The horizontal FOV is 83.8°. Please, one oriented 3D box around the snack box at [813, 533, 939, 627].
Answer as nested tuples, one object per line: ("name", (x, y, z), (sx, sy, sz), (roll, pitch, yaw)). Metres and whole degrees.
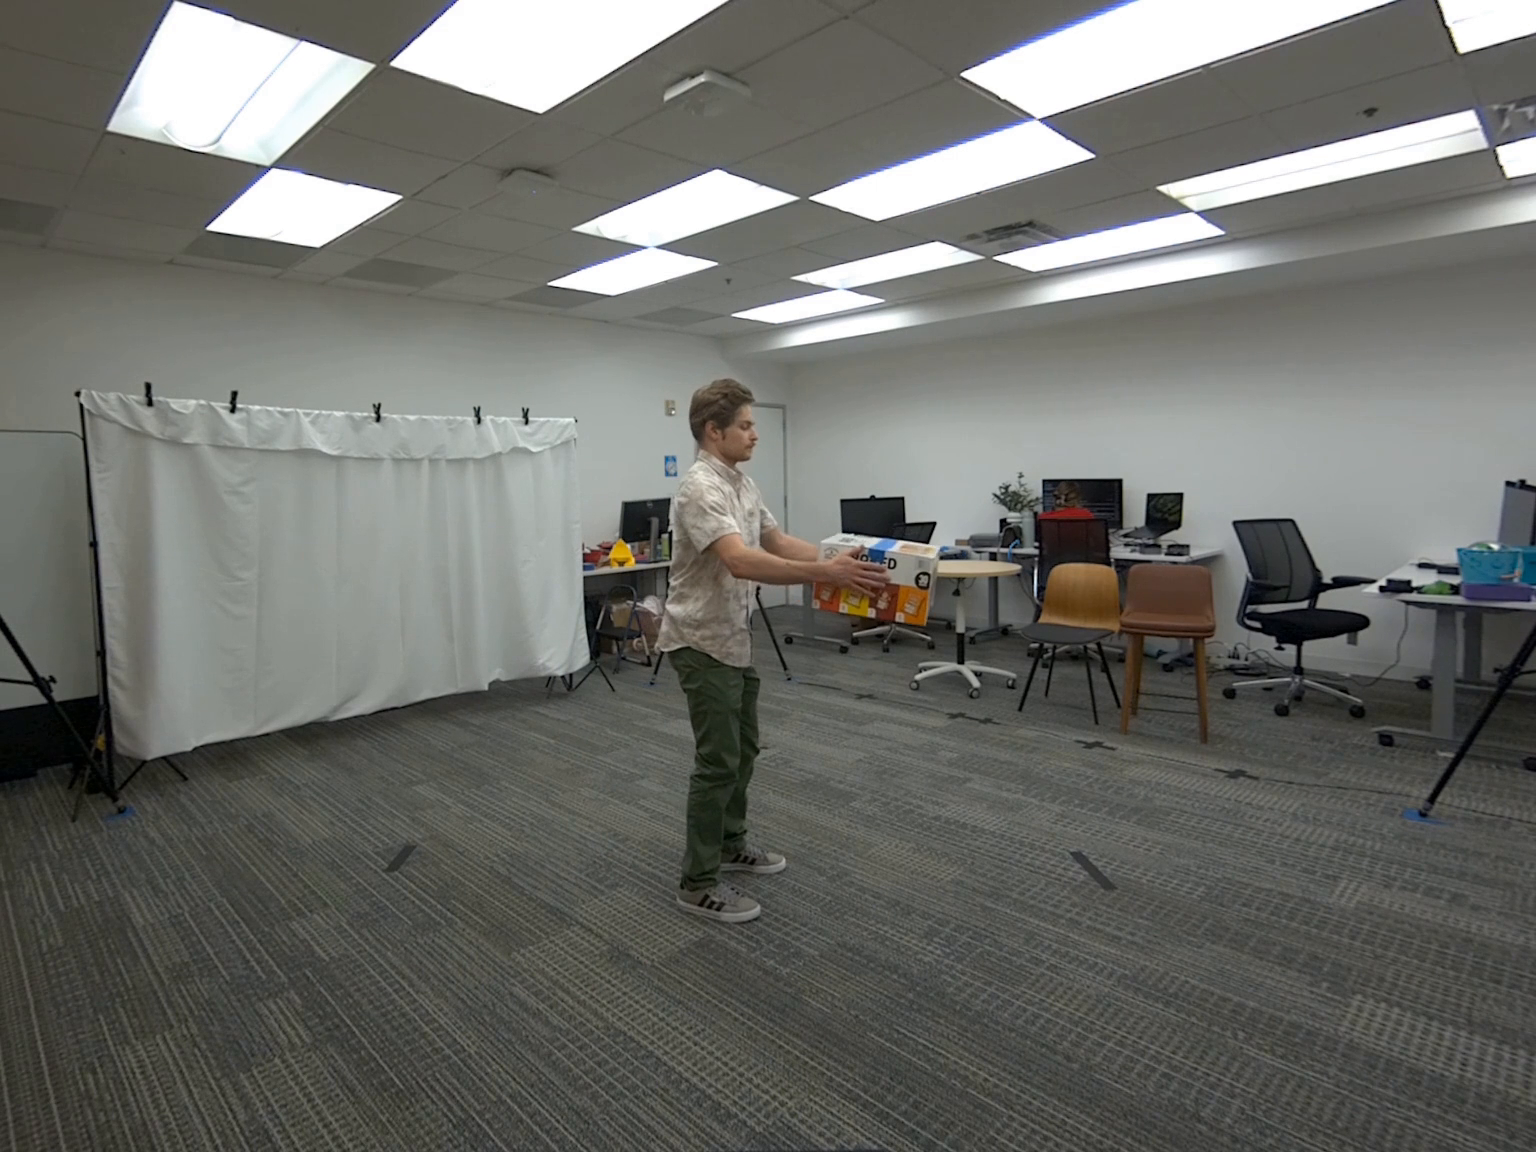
("snack box", (0.346, -0.002, 2.699), (0.346, 0.204, 0.400), (8, 8, 15))
